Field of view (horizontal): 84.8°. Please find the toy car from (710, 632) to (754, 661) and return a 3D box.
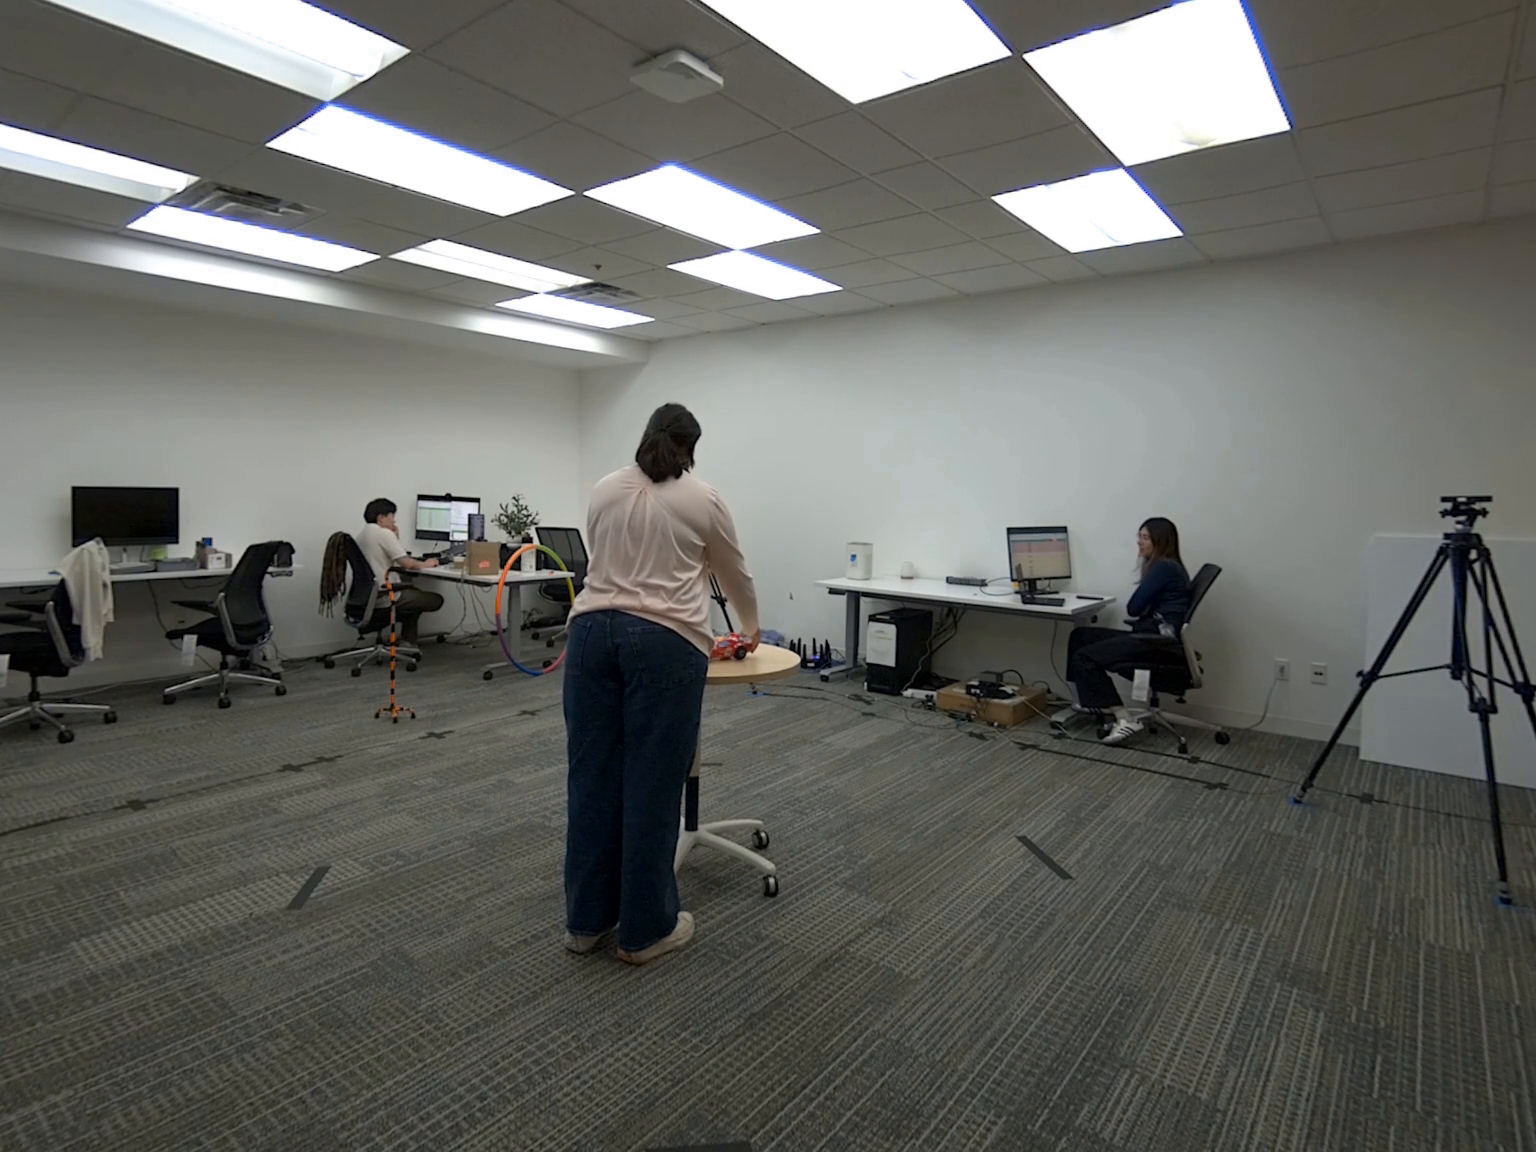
[{"bbox_3d":[-0.177,0.259,3.040,0.249,0.082,0.134,-15,13,-31],"label":"toy car"}]
